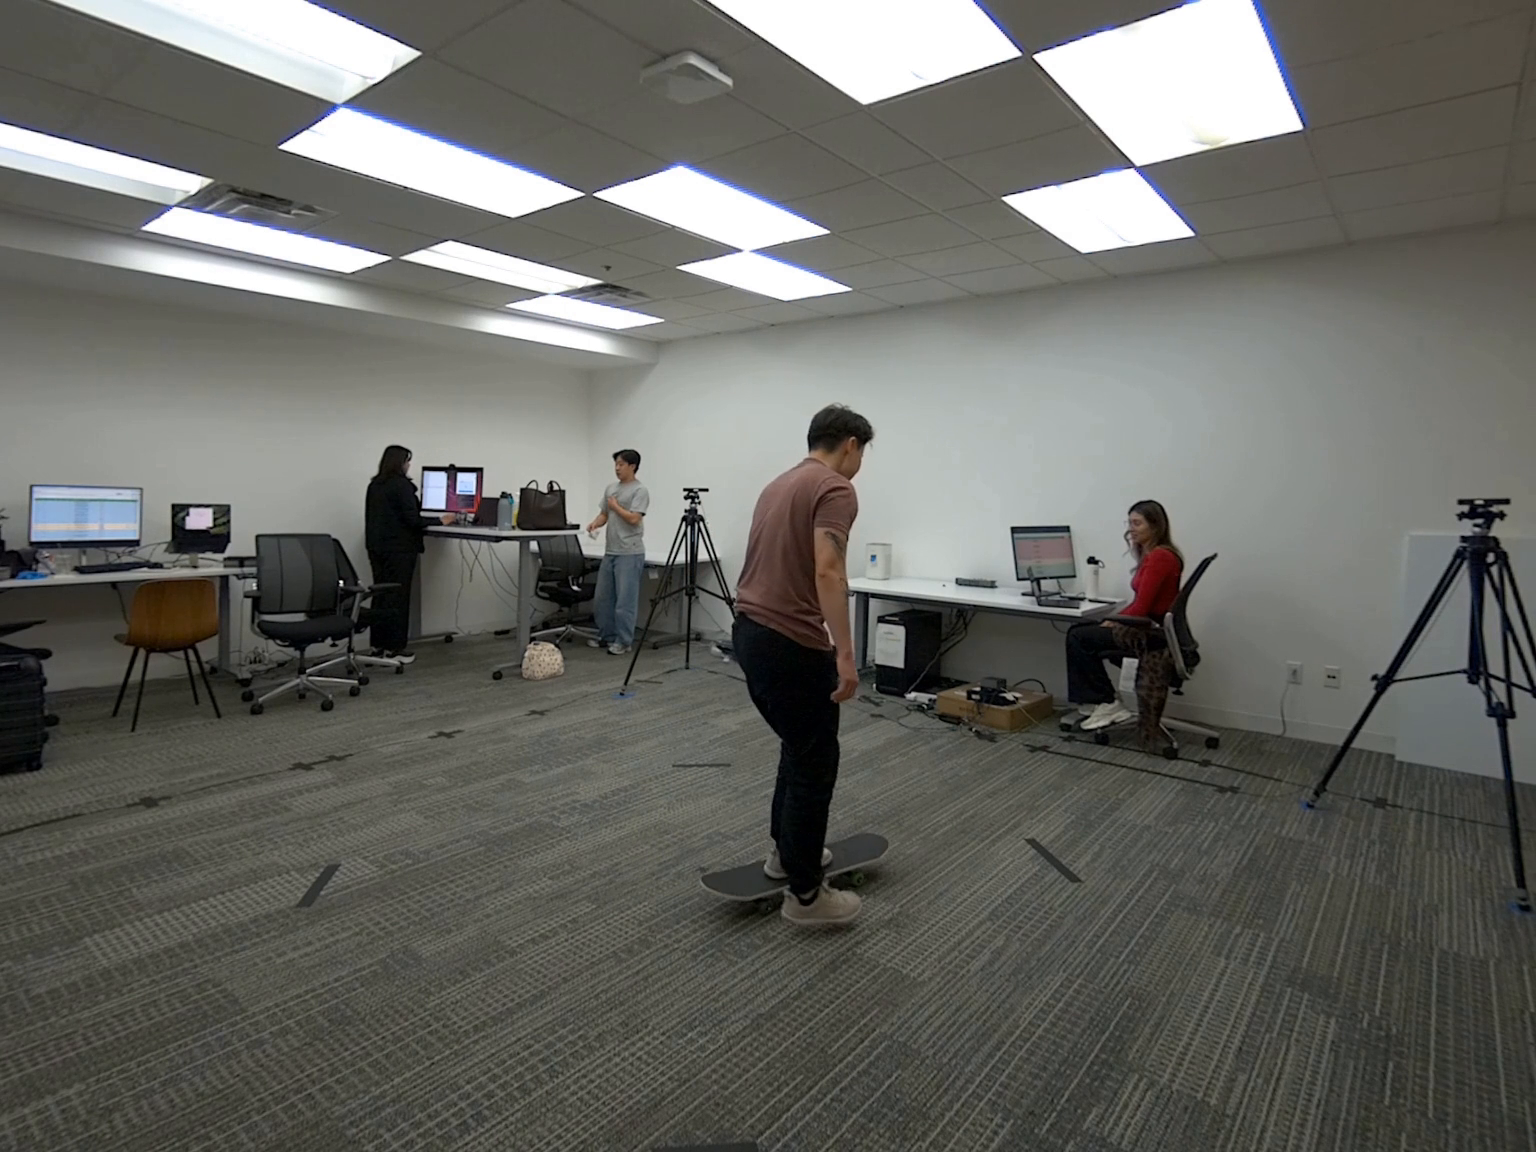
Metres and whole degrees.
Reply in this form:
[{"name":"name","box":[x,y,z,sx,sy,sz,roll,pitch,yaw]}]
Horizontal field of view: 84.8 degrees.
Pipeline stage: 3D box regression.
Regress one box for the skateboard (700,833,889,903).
[{"name":"skateboard","box":[0.102,1.038,2.950,0.763,0.110,0.200,-2,7,-34]}]
